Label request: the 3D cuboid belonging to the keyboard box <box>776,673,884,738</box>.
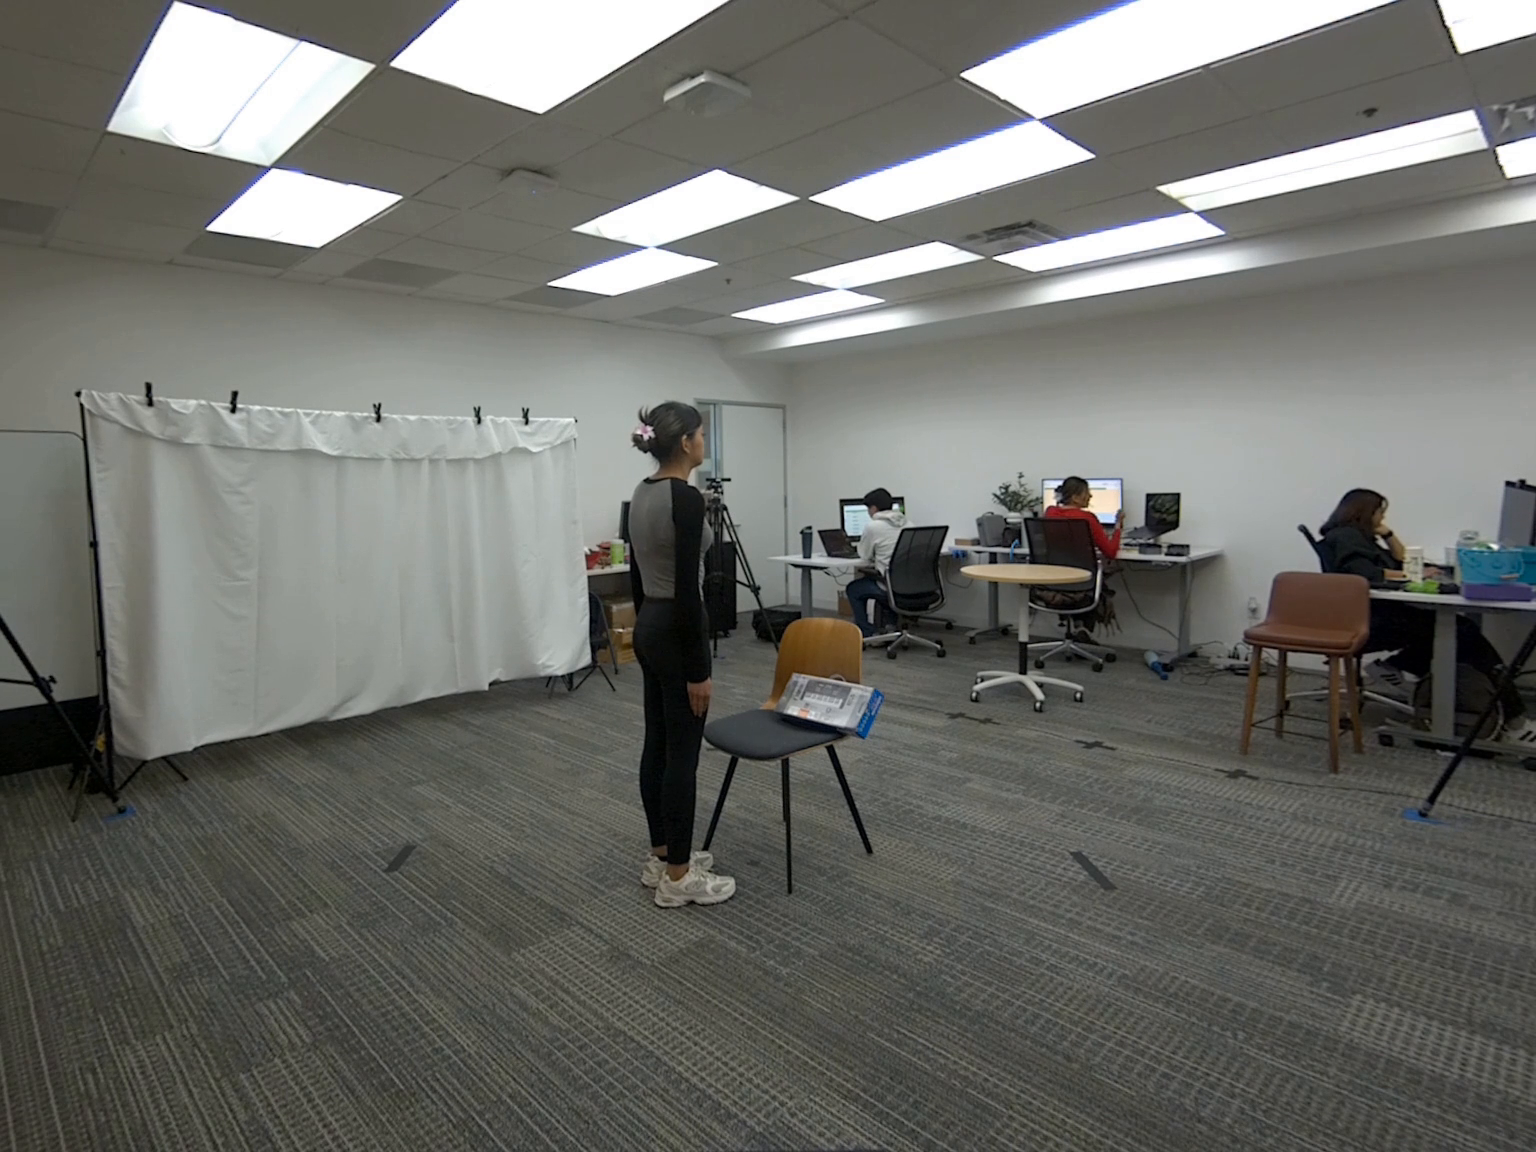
[{"bbox_3d":[0.213,0.475,3.125,0.057,0.177,0.449,41,-23,-31],"label":"keyboard box"}]
